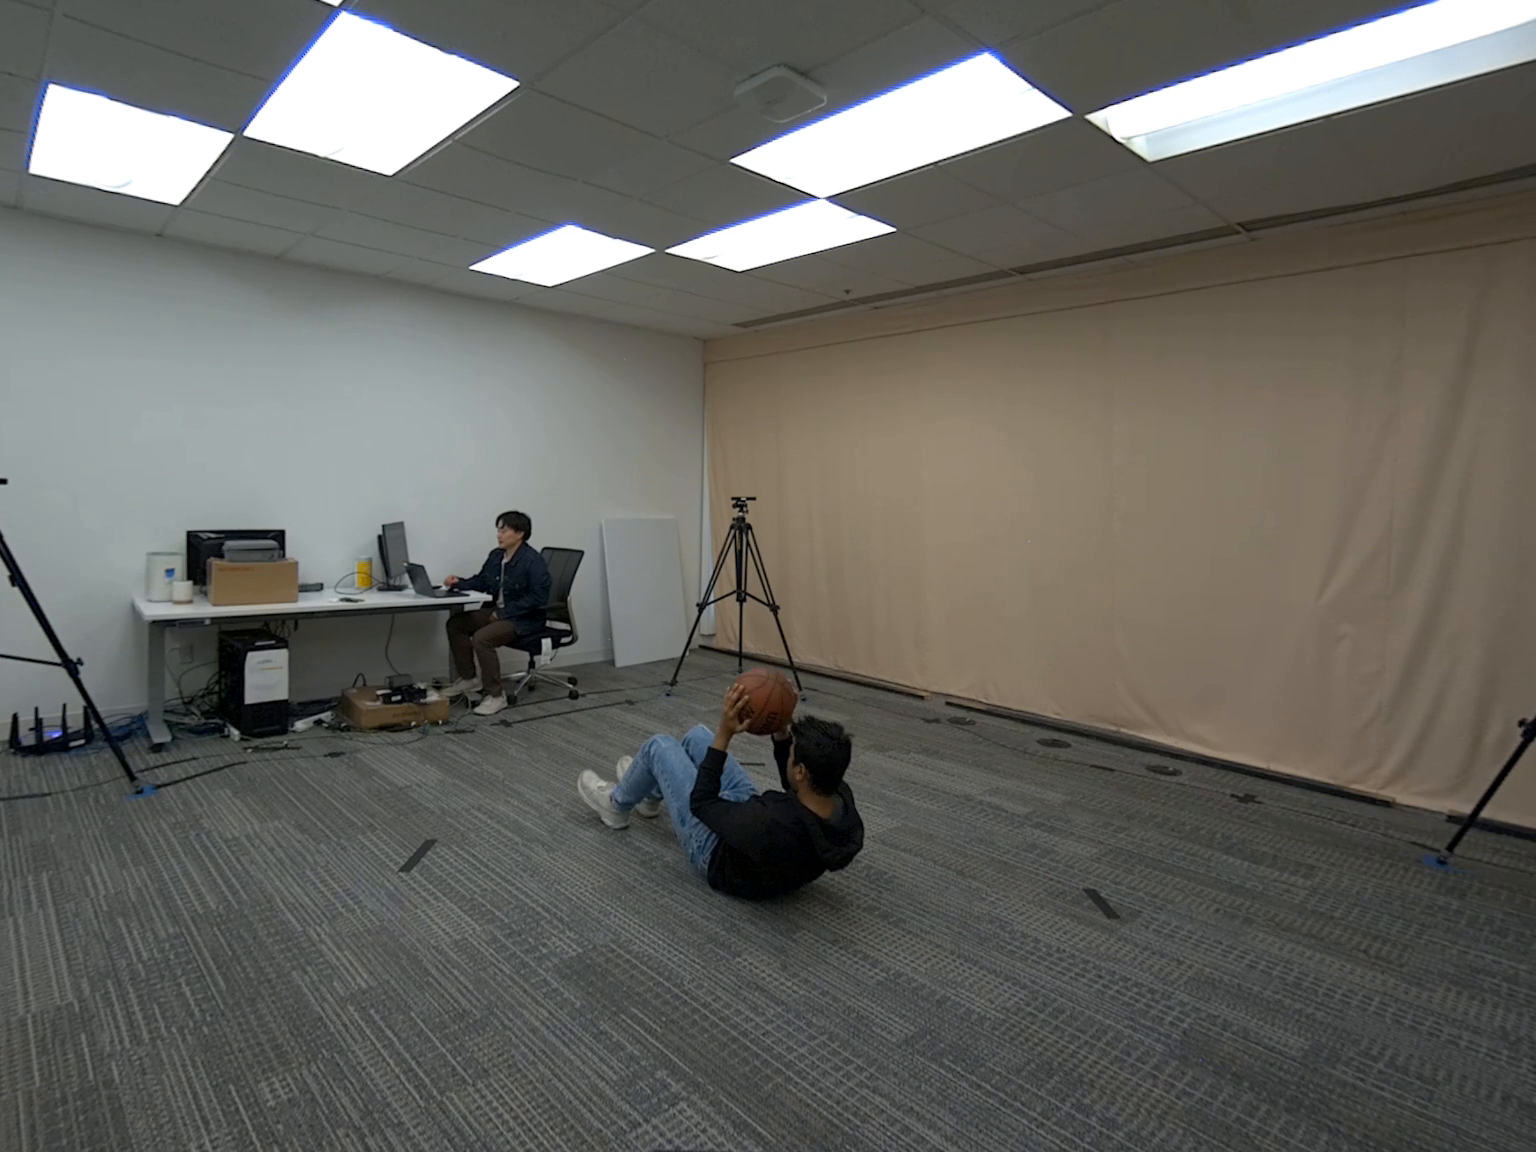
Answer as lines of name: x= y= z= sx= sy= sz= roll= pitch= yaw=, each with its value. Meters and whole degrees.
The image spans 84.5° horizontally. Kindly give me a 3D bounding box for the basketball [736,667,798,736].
basketball: x=-0.018 y=0.451 z=2.971 sx=0.236 sy=0.235 sz=0.237 roll=1 pitch=4 yaw=-1
